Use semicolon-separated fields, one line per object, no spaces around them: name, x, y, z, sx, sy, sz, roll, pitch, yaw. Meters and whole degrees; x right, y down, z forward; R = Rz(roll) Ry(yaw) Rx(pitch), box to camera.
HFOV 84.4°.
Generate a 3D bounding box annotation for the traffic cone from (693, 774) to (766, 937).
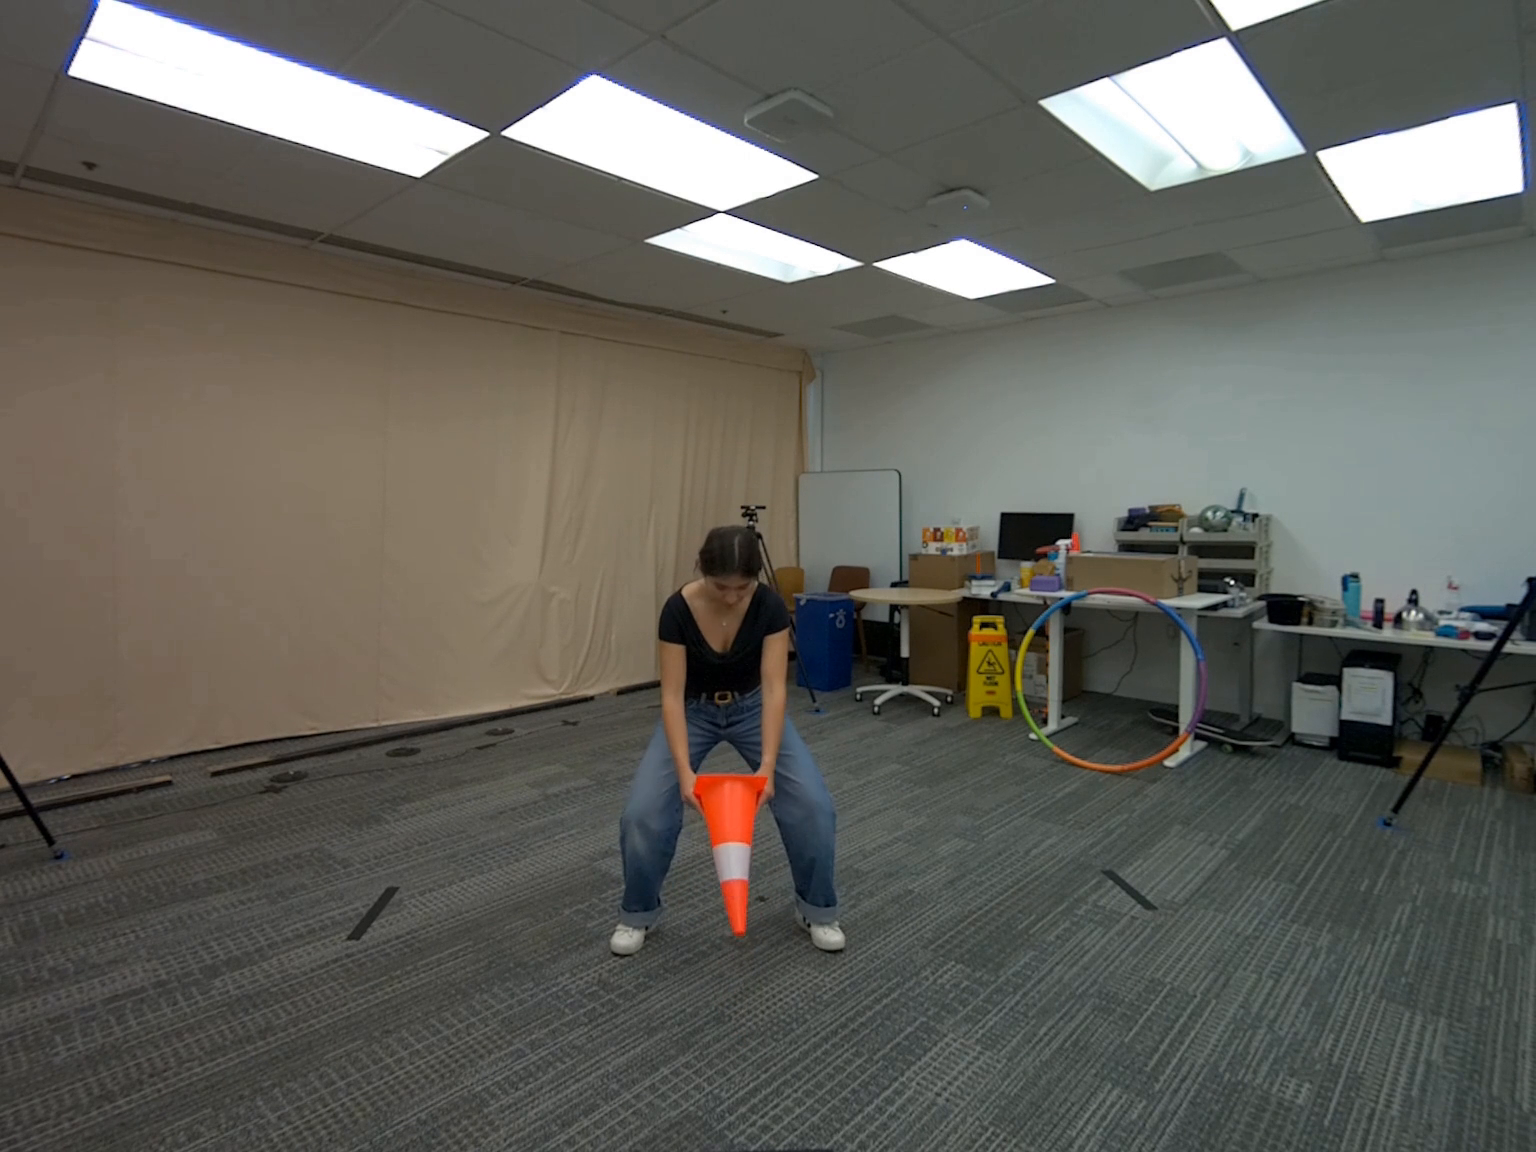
traffic cone;-0.084;0.744;2.226;0.200;0.393;0.203;2;-41;-14
